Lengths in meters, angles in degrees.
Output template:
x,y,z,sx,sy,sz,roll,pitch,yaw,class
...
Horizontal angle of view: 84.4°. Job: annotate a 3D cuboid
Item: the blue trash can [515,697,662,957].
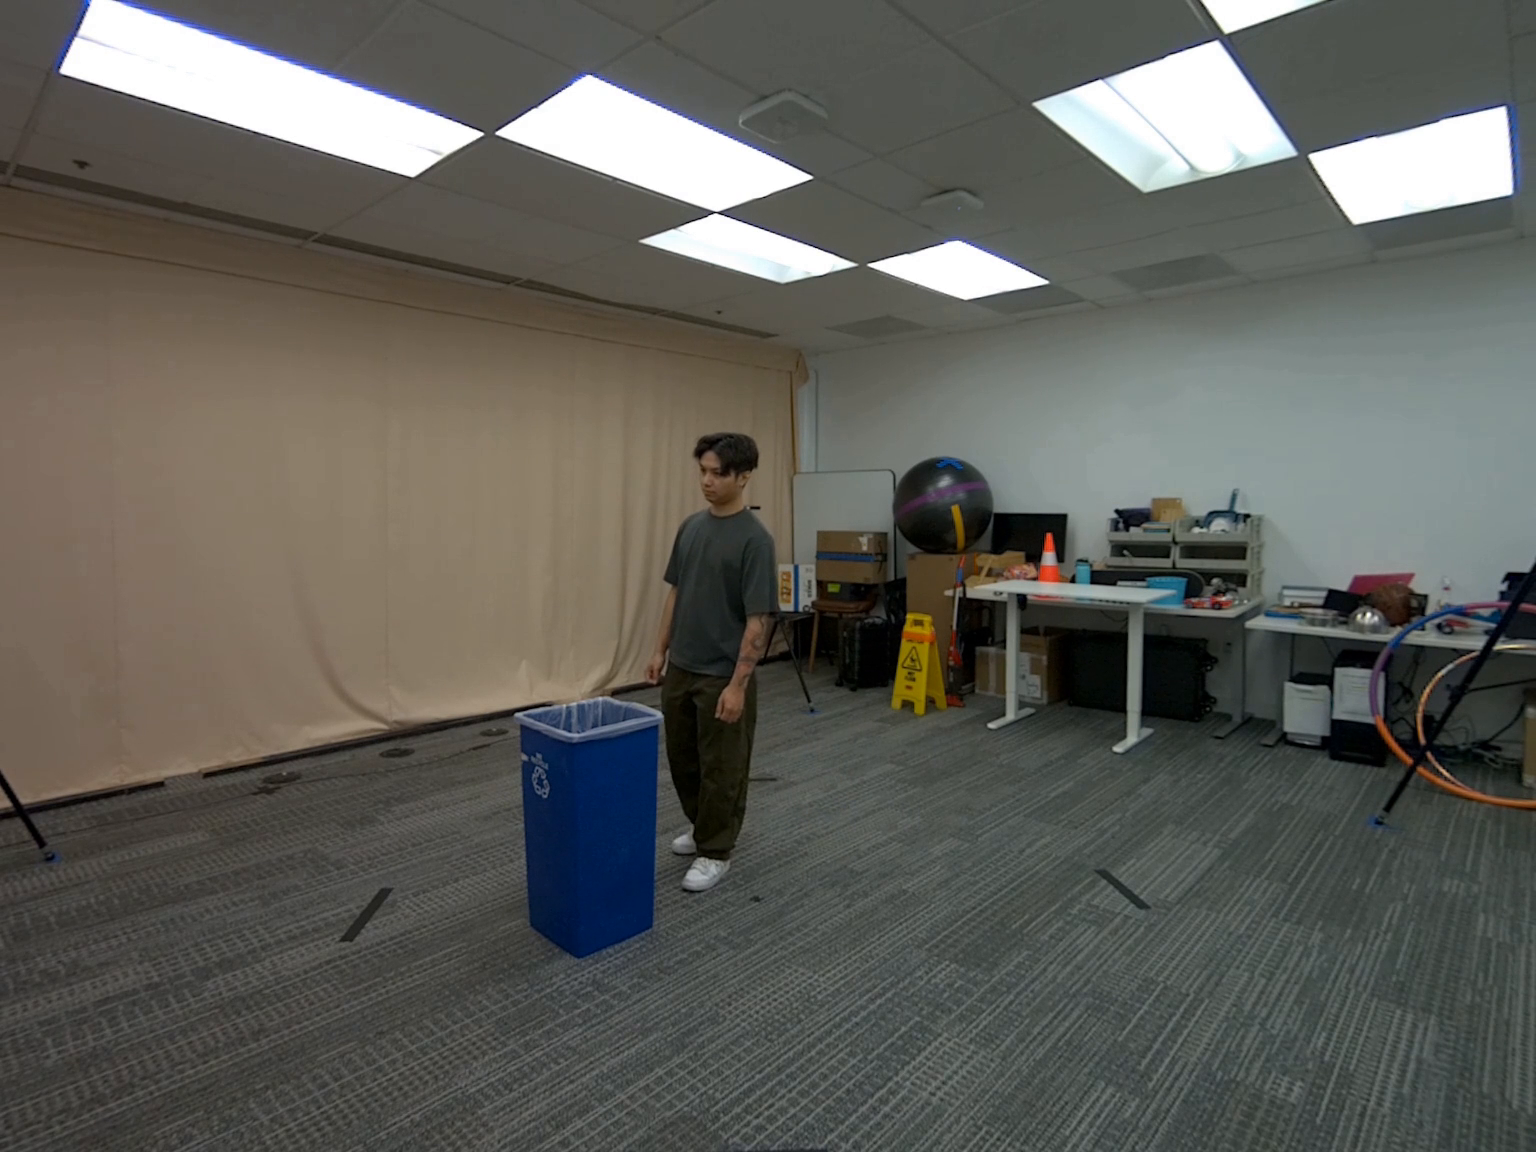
x,y,z,sx,sy,sz,roll,pitch,yaw,class
-0.589,0.808,2.783,0.391,0.712,0.363,3,6,44,blue trash can
